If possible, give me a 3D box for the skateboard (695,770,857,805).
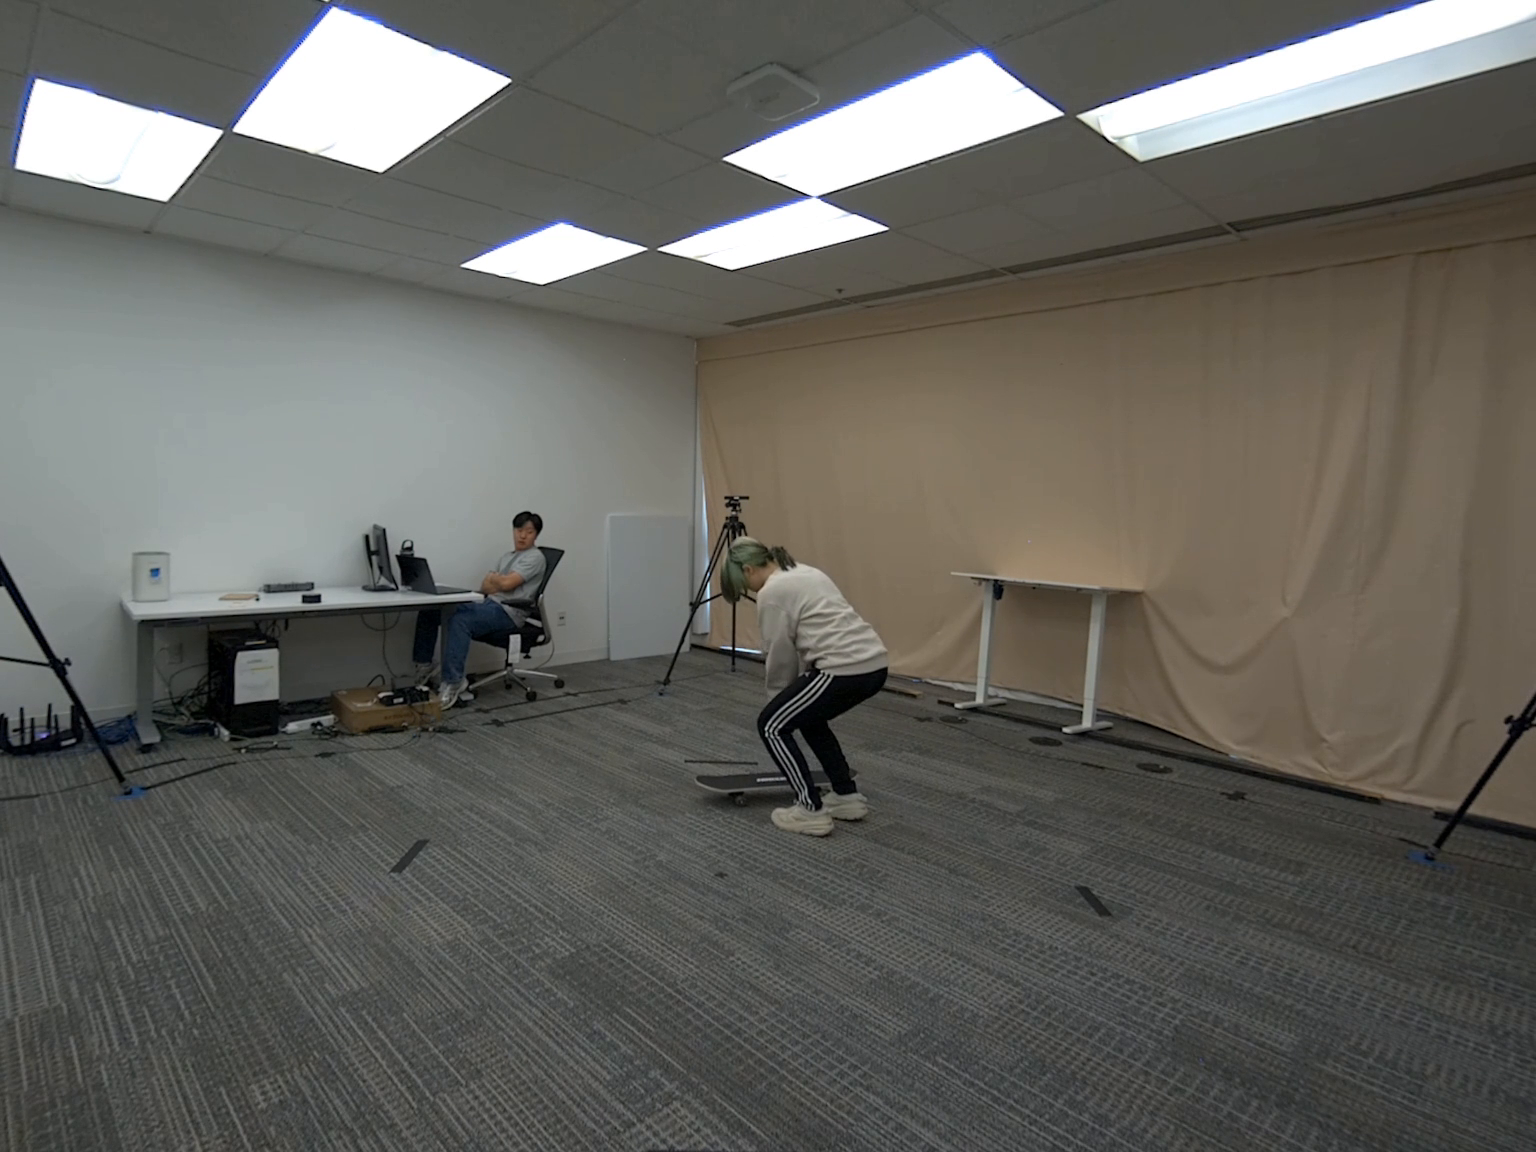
[{"bbox_3d":[0.033,0.980,3.933,0.776,0.110,0.196,1,5,-15],"label":"skateboard"}]
